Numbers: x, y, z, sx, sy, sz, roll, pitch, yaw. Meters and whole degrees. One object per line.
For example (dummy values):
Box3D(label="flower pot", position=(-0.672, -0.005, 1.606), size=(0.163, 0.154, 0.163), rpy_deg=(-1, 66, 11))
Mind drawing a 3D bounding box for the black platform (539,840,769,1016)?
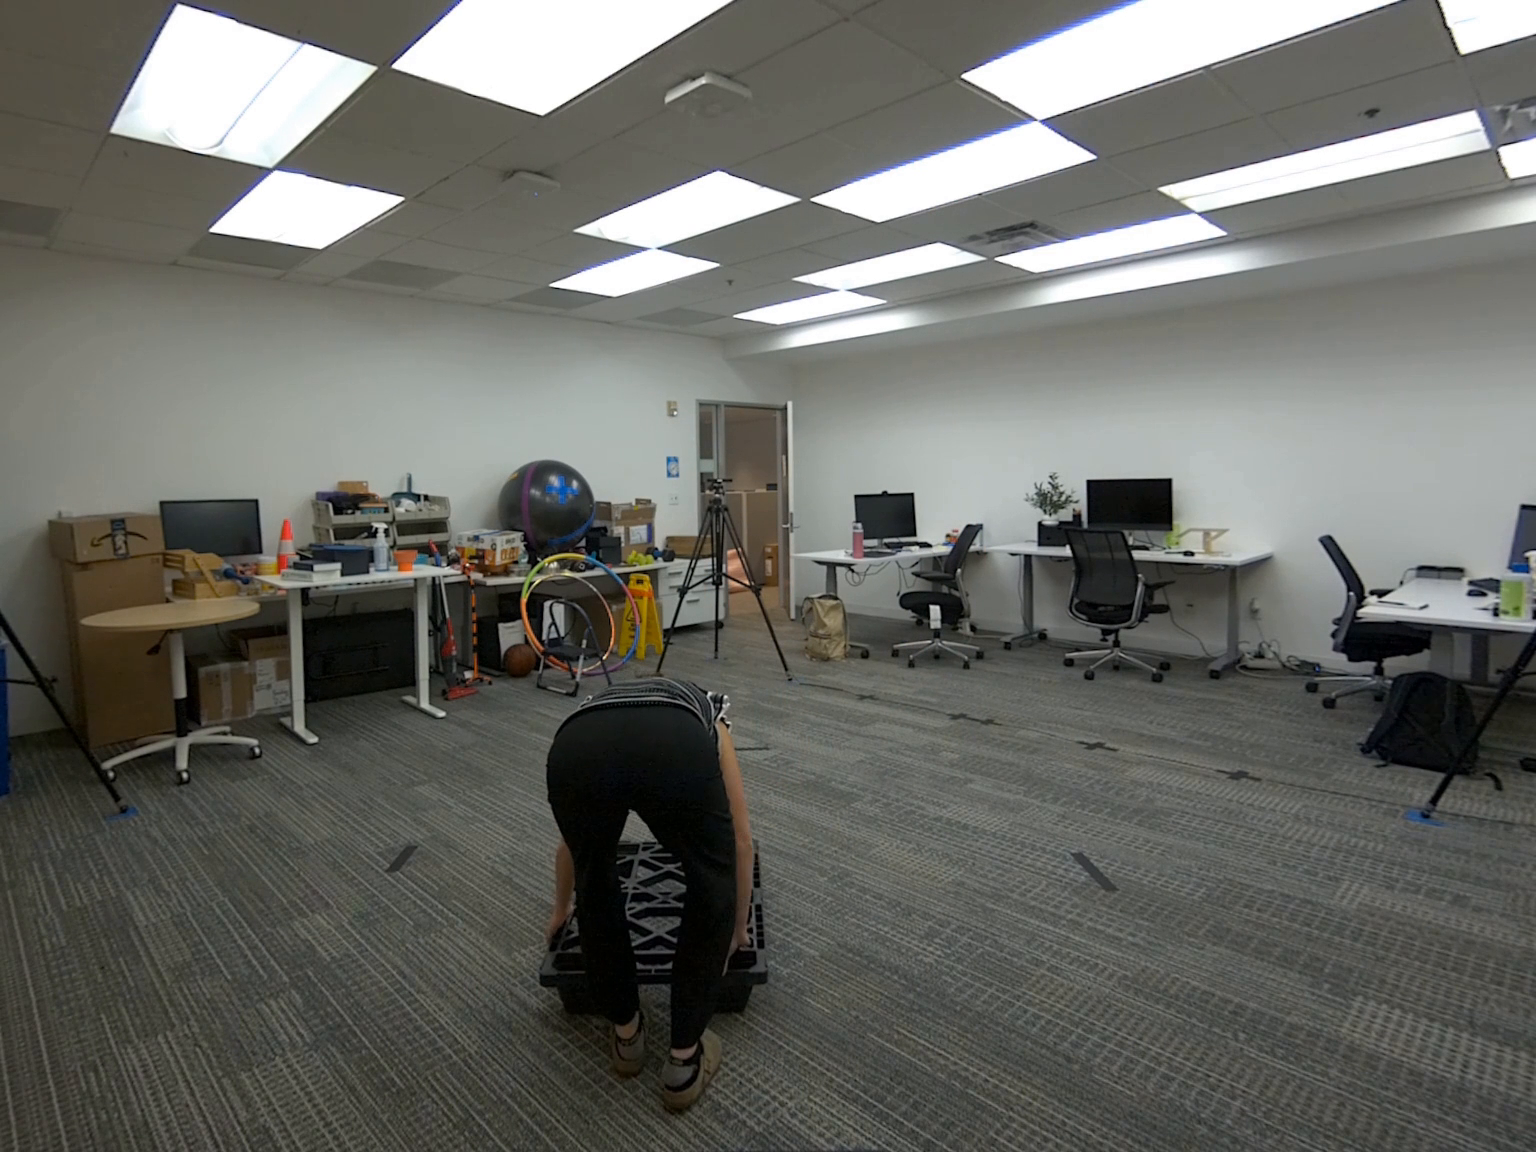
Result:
Box3D(label="black platform", position=(-0.308, 1.041, 2.601), size=(0.605, 0.142, 0.810), rpy_deg=(-2, 7, -1))
